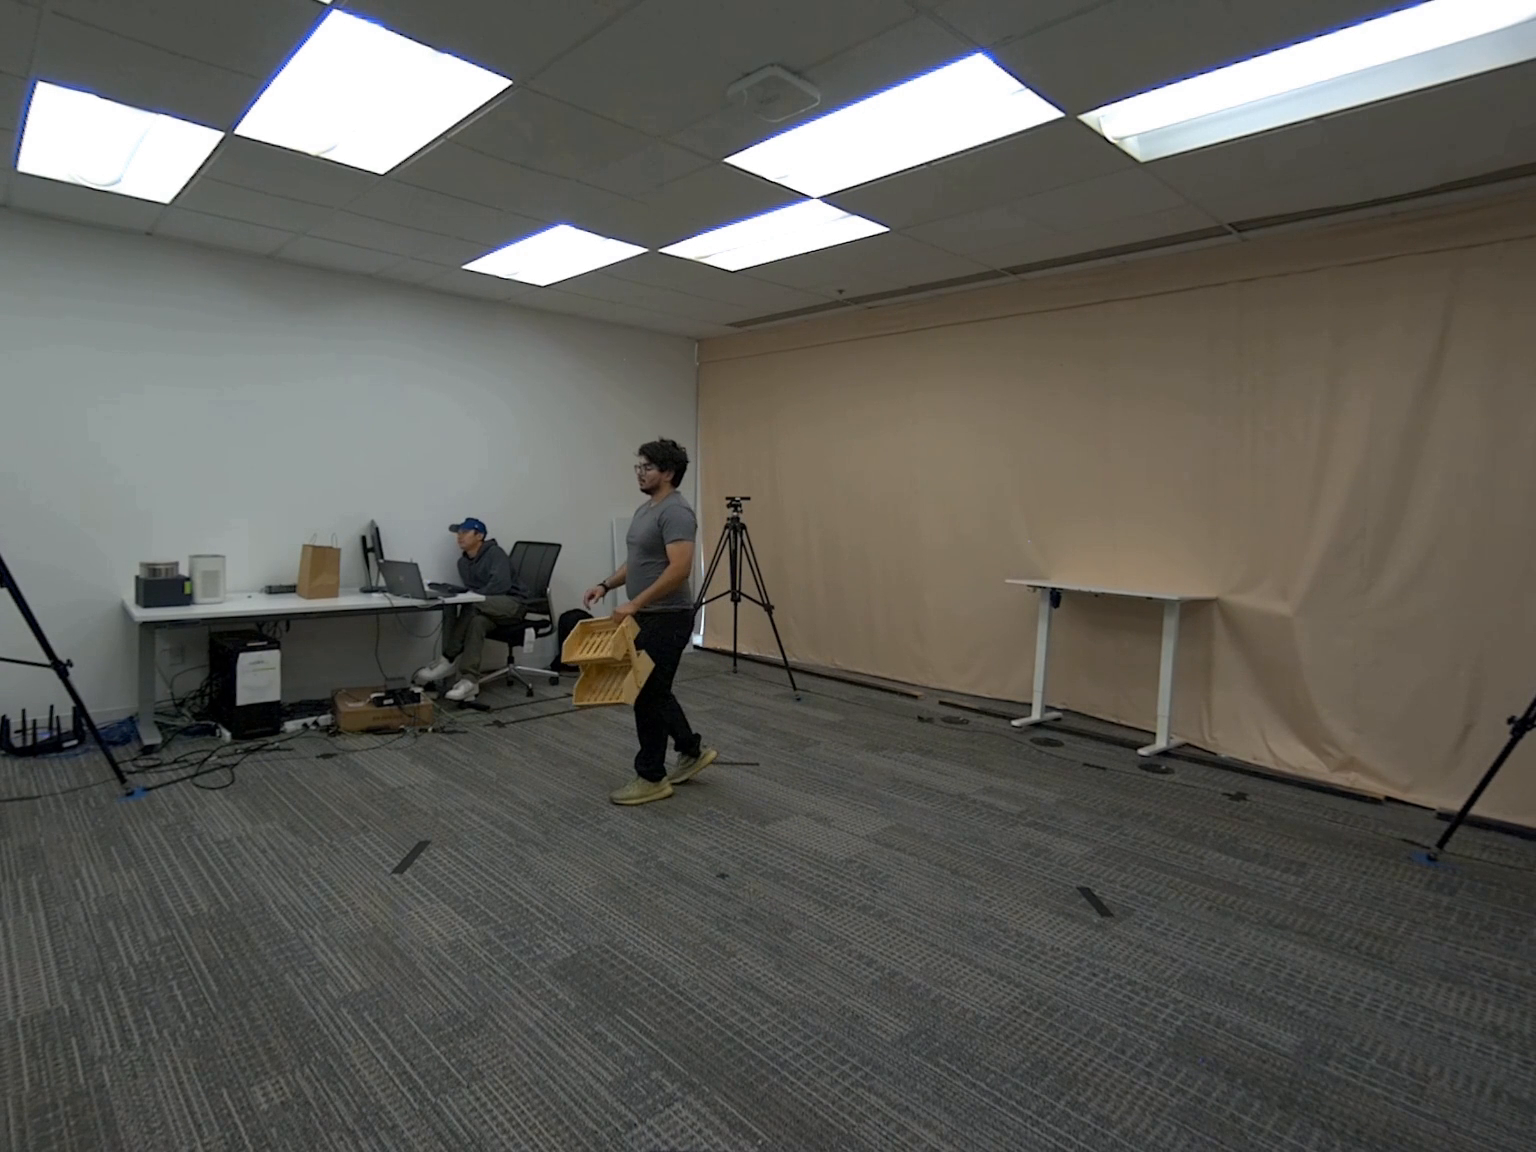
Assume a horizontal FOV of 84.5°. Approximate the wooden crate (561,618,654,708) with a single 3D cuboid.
[{"bbox_3d":[-0.714,0.372,3.602,0.330,0.266,0.304,-9,35,33],"label":"wooden crate"}]
